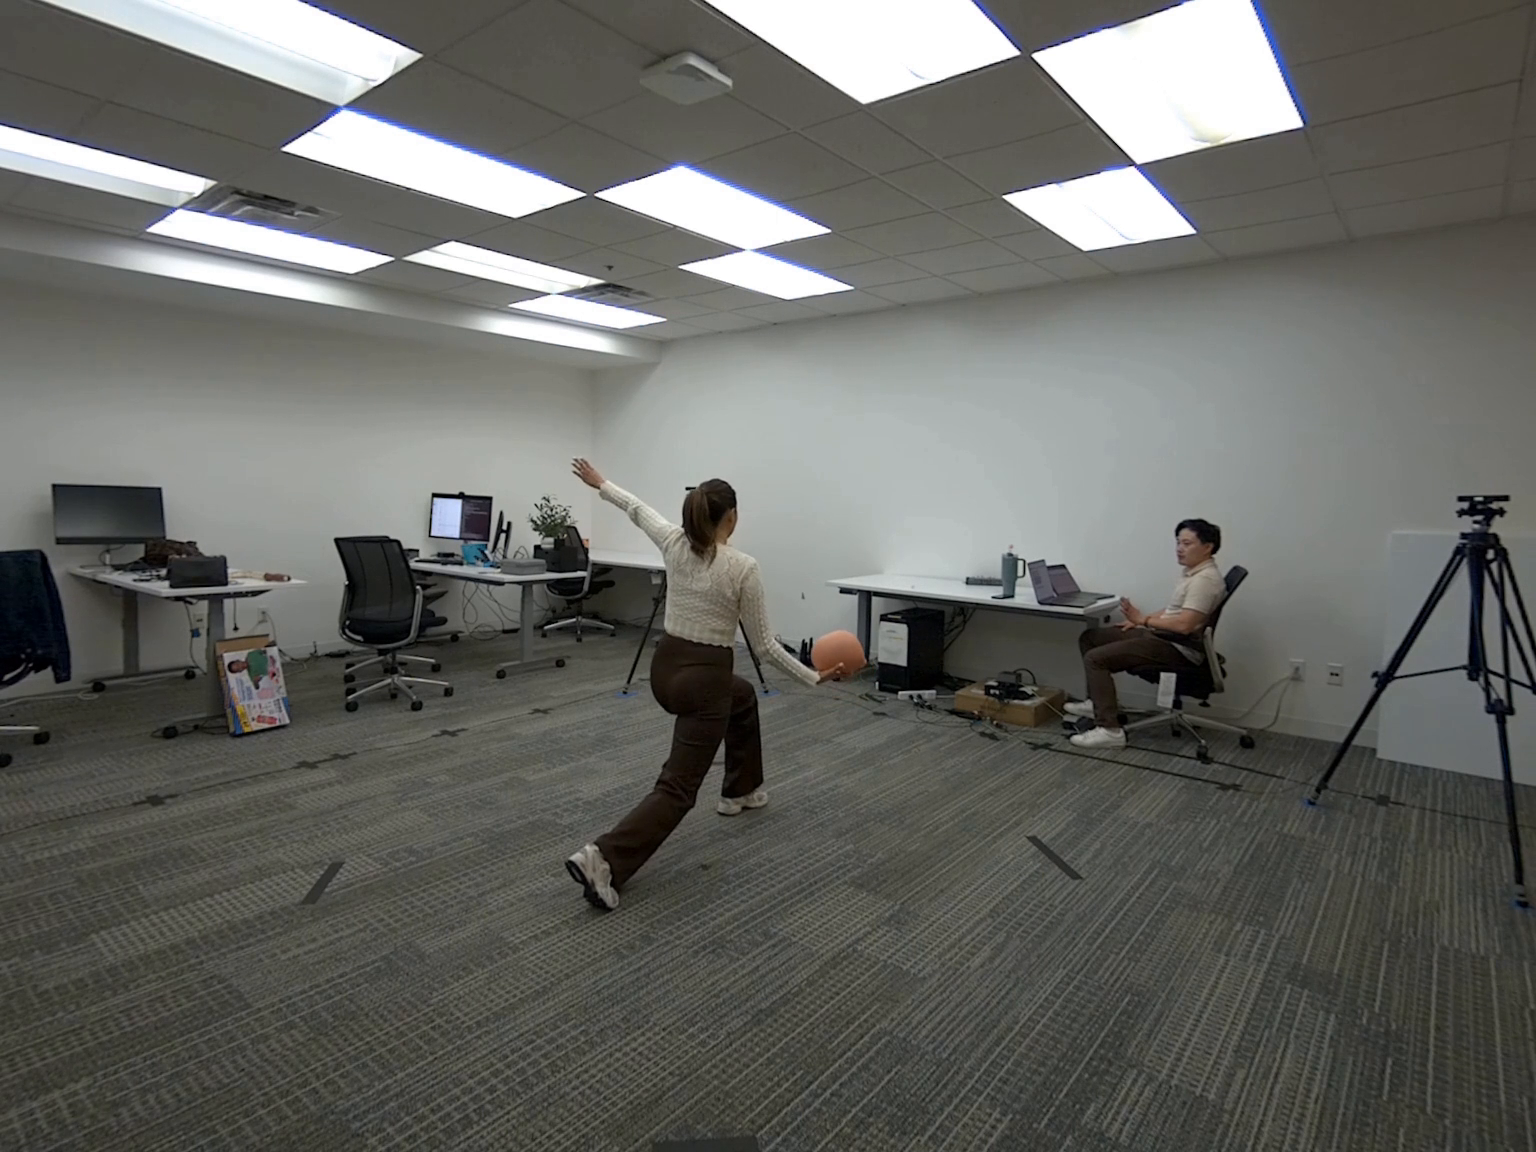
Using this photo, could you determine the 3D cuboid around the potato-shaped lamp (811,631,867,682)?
[{"bbox_3d":[0.262,0.317,3.377,0.196,0.172,0.166,-20,-1,-15],"label":"potato-shaped lamp"}]
